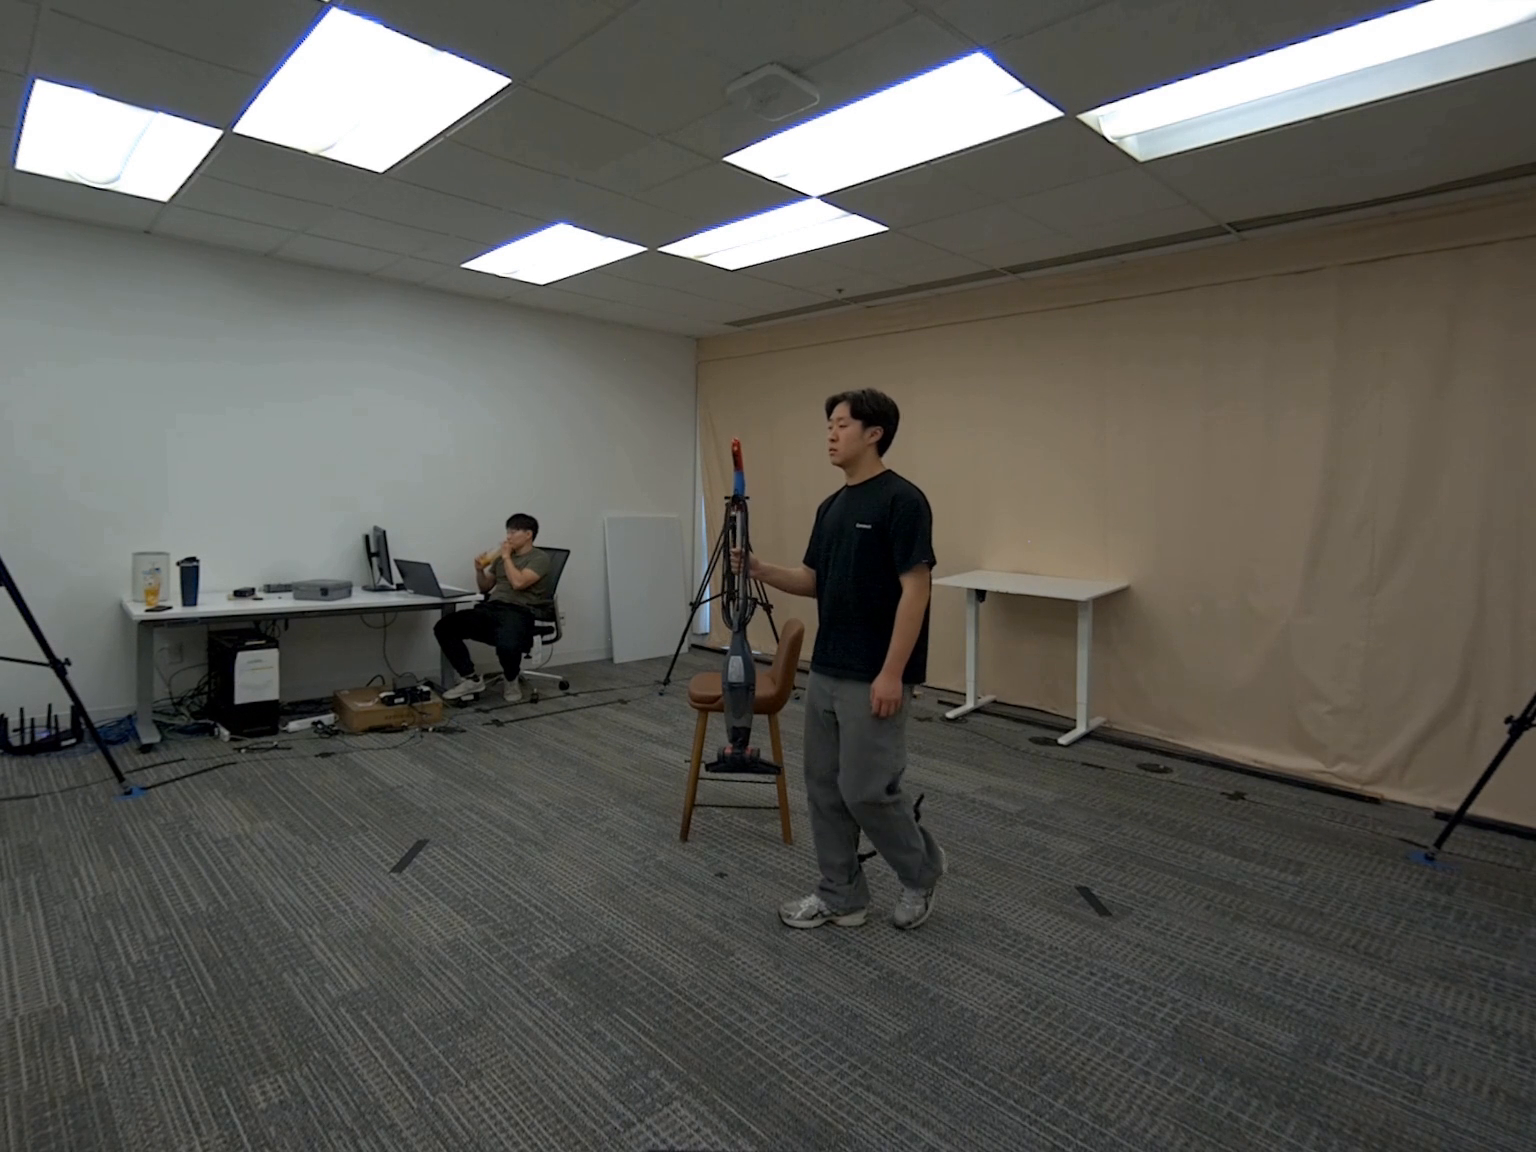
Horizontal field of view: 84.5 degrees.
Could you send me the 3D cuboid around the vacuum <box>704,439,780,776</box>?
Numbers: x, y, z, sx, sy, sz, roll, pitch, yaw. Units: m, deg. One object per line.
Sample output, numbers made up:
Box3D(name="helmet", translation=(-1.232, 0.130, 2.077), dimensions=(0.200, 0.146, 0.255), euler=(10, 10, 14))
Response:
Box3D(name="vacuum", translation=(-0.100, 0.088, 2.727), dimensions=(0.255, 1.048, 0.143), euler=(-2, 2, 11))
